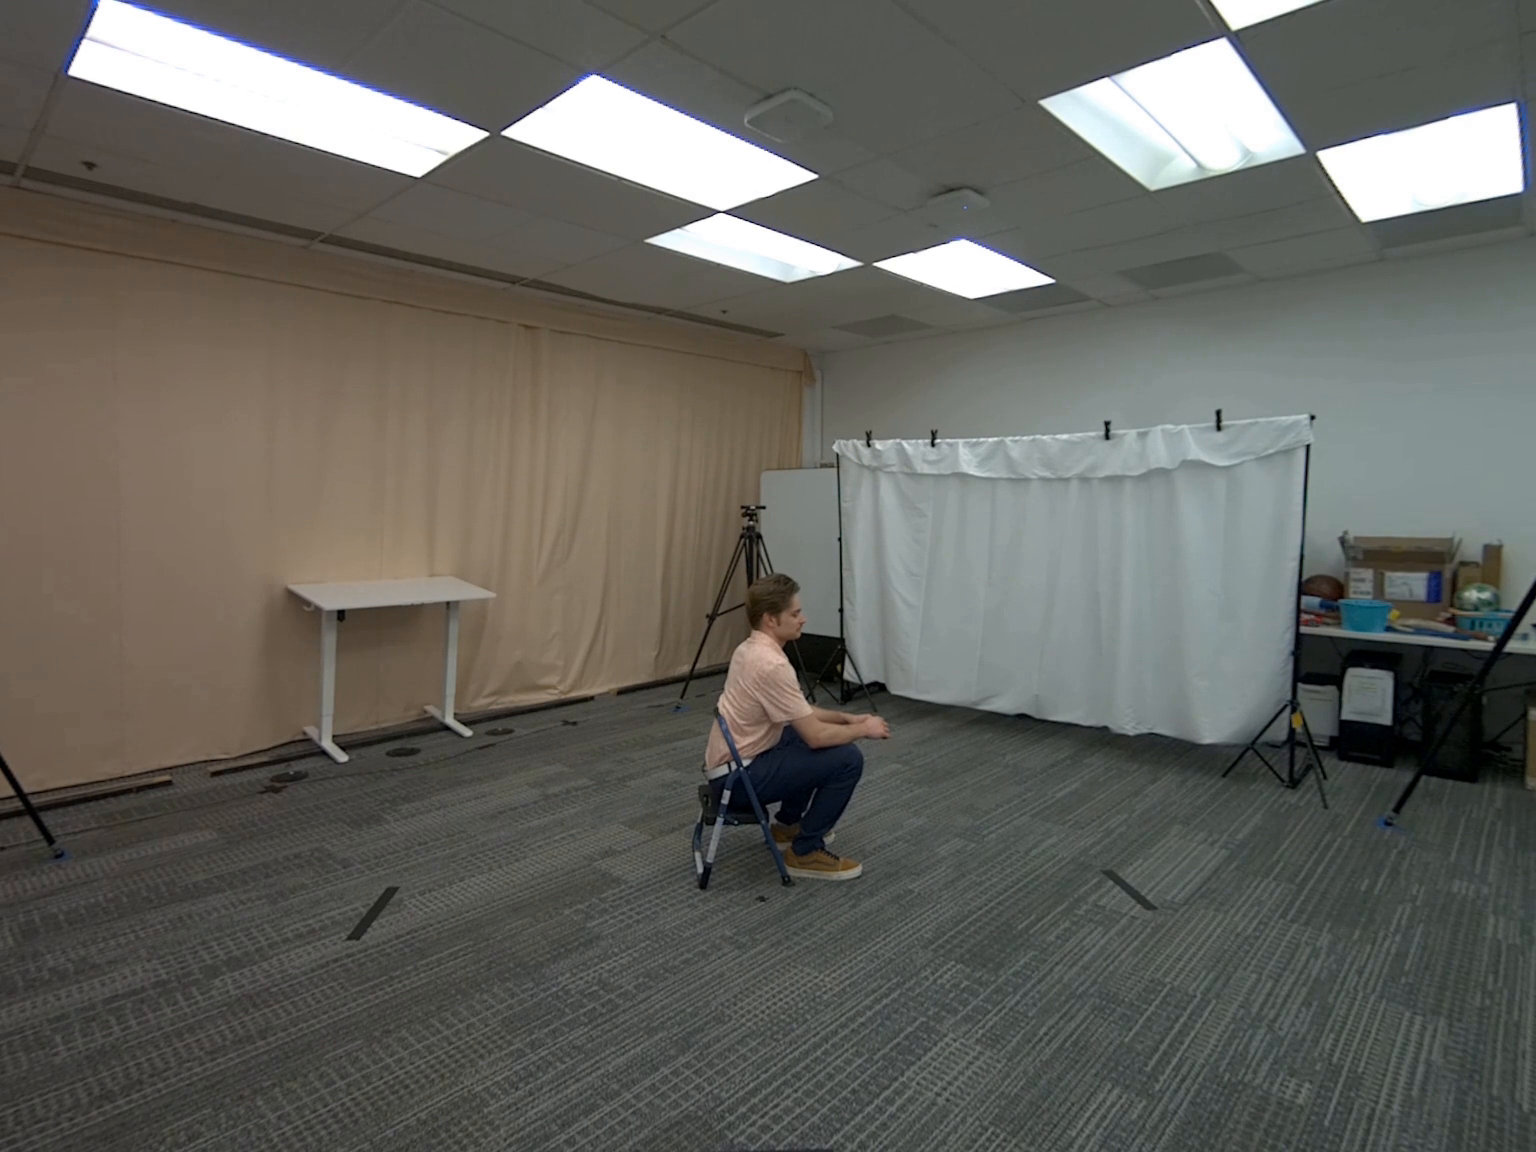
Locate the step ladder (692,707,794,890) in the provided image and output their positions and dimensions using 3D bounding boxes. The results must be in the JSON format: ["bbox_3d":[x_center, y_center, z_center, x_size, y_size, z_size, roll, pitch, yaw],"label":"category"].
[{"bbox_3d":[-0.113,0.827,3.259,0.346,0.605,0.435,0,4,-9],"label":"step ladder"}]
